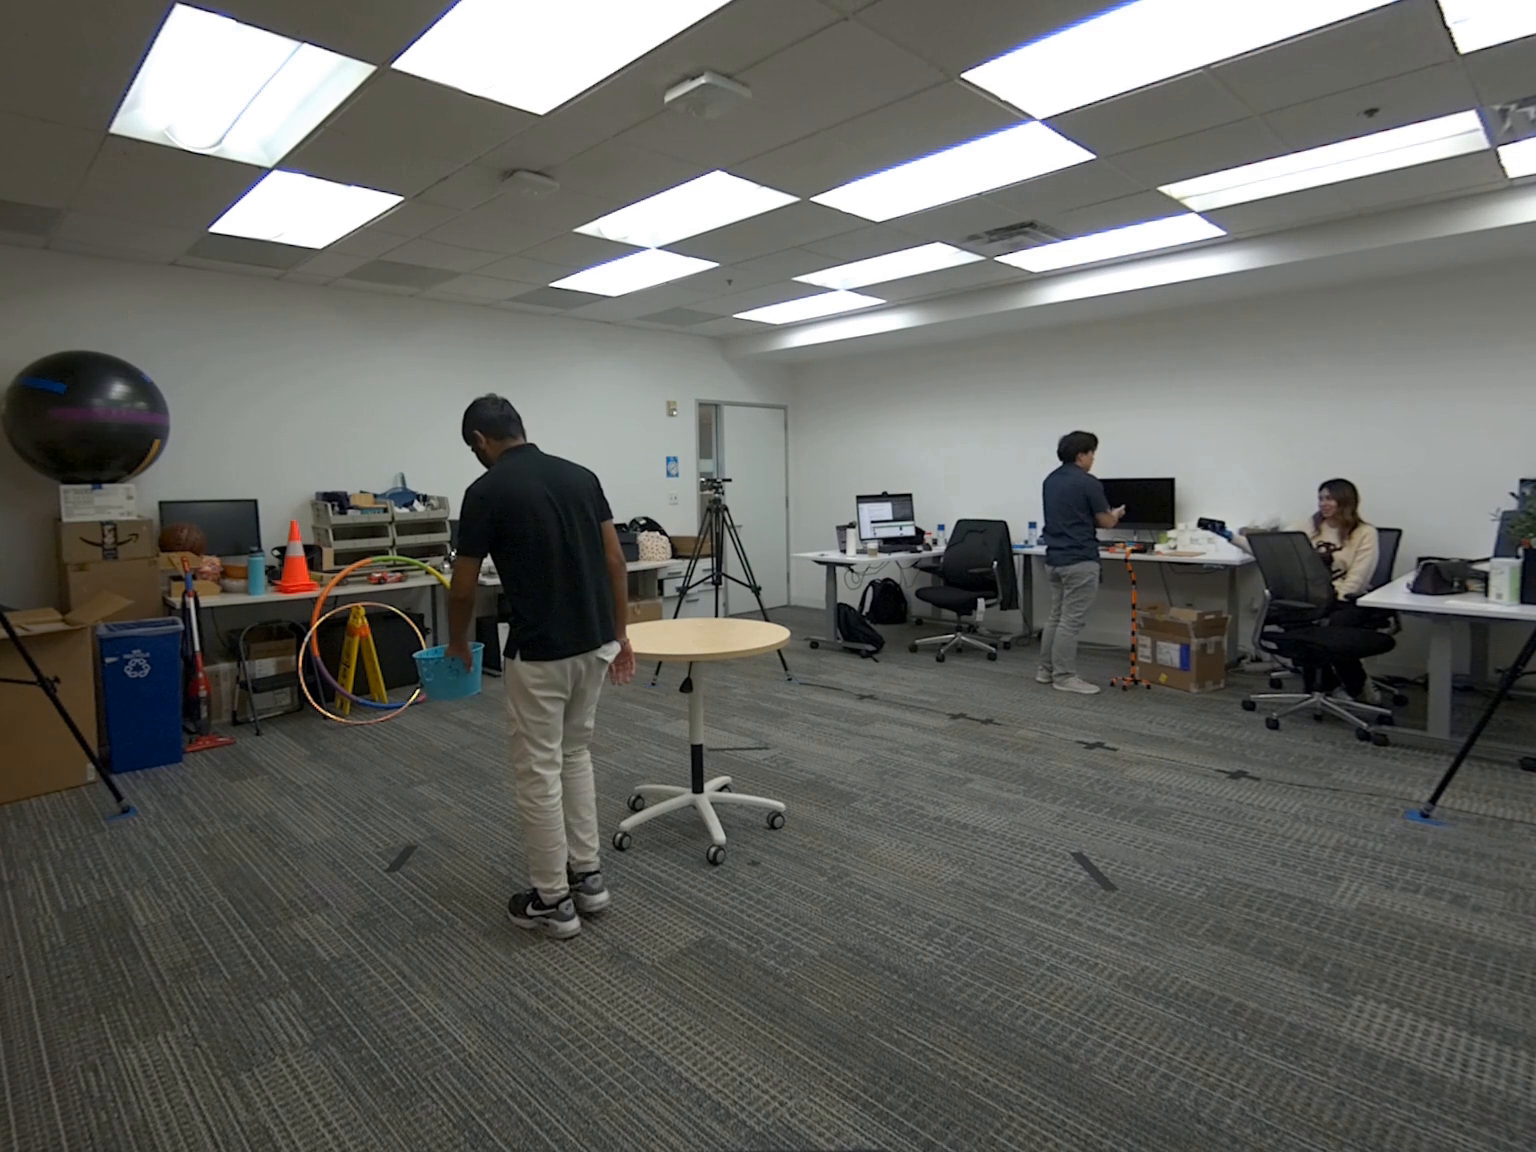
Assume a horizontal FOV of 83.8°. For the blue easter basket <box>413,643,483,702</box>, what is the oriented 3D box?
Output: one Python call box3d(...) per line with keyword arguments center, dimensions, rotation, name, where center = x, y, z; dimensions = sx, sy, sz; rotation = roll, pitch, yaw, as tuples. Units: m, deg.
box3d(center=(-1.088, 0.329, 2.927), dimensions=(0.243, 0.155, 0.245), rotation=(-5, 5, -1), name="blue easter basket")
